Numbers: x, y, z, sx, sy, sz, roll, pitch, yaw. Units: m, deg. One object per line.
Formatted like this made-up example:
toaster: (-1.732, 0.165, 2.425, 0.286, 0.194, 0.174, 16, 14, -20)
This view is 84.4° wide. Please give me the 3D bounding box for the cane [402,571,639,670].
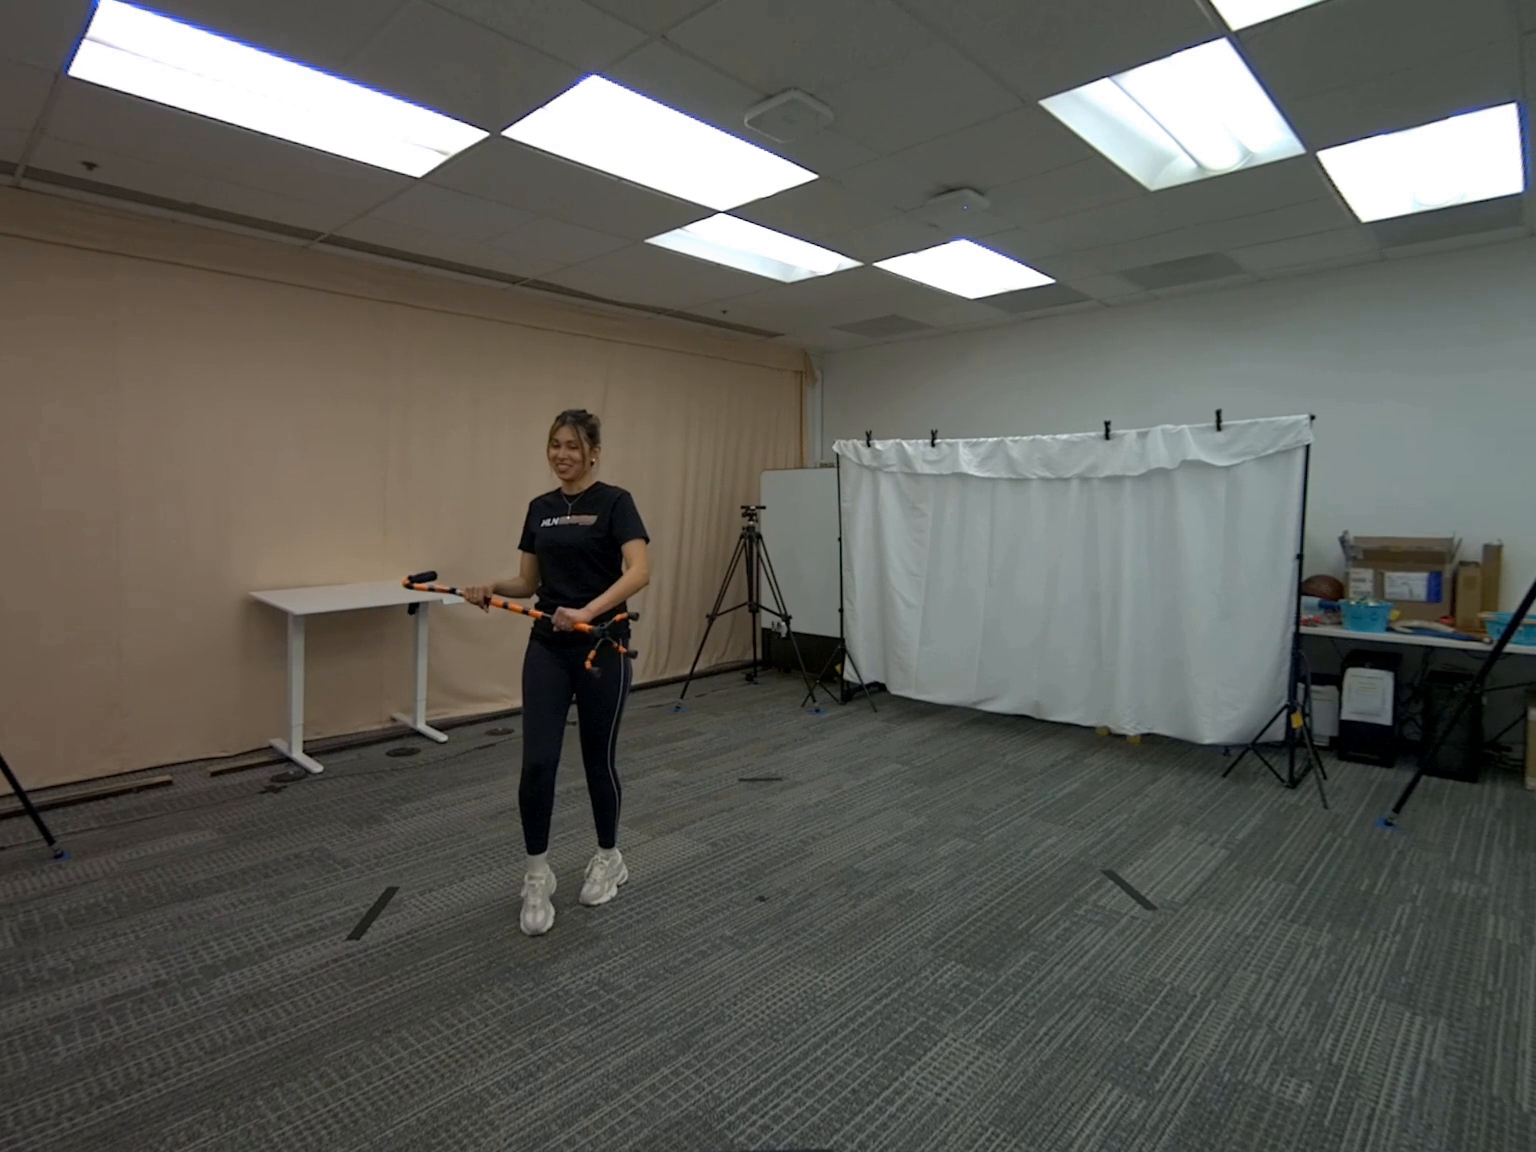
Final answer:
cane: (-0.841, 0.118, 2.678, 0.934, 0.150, 0.202, 12, 18, 26)
